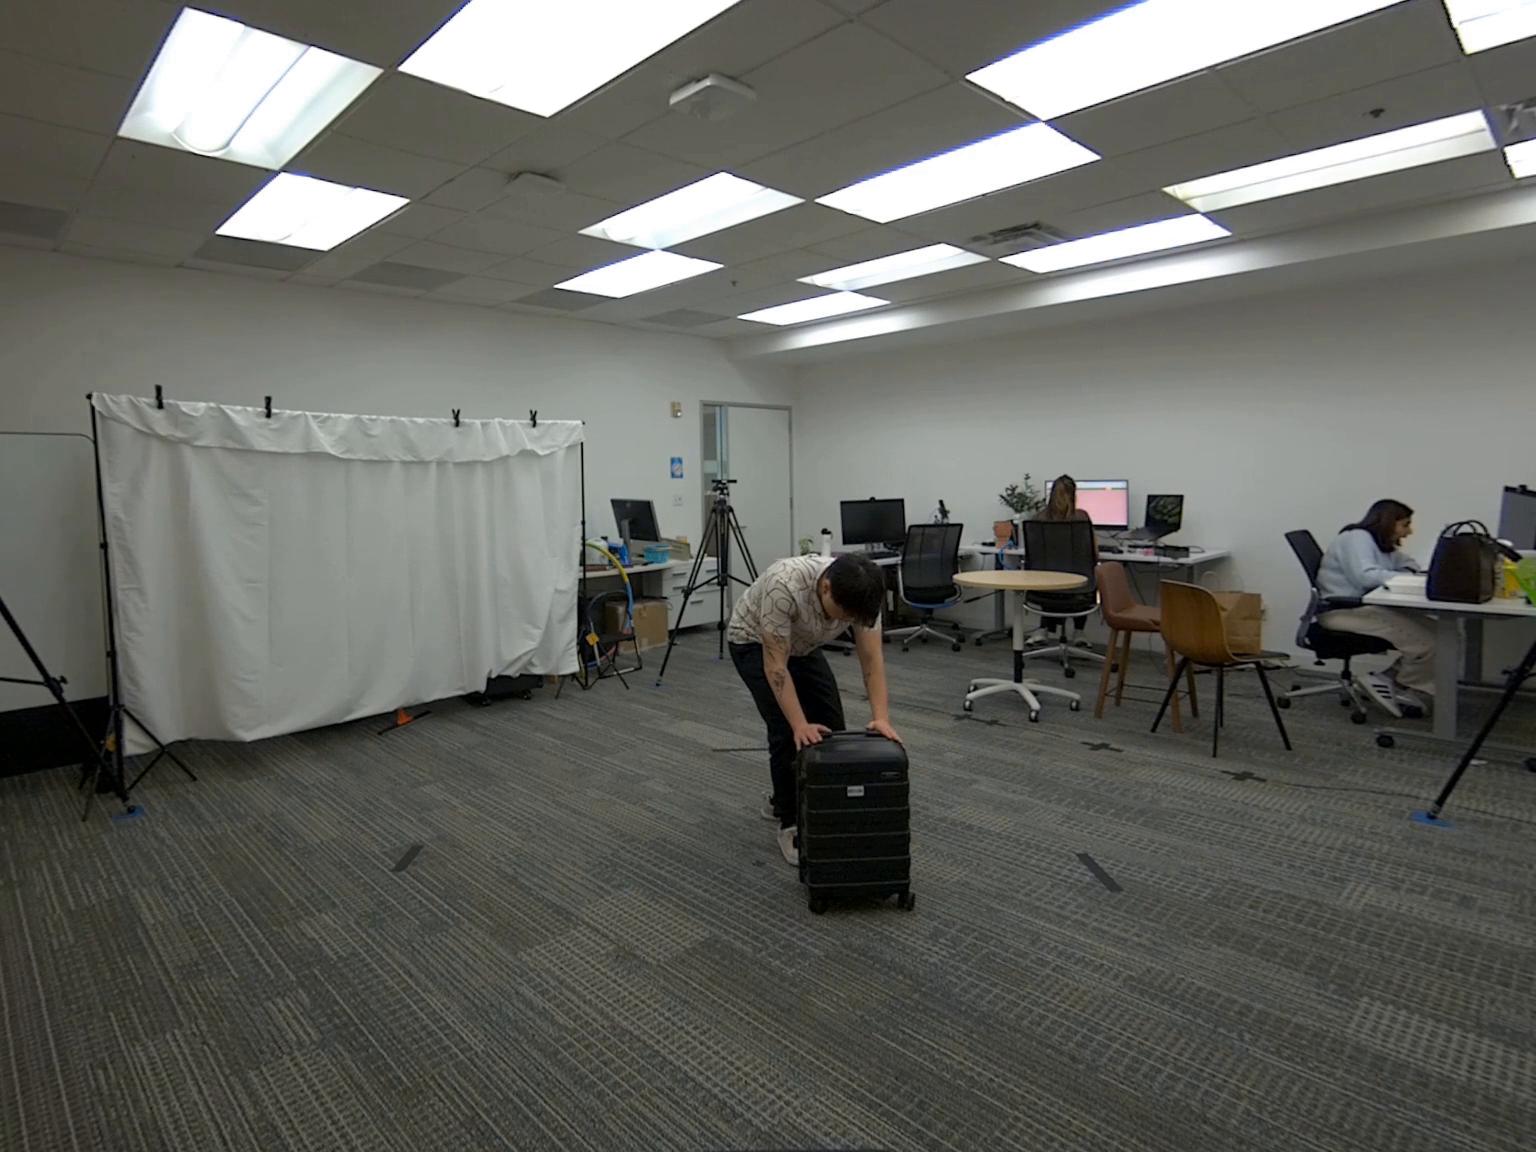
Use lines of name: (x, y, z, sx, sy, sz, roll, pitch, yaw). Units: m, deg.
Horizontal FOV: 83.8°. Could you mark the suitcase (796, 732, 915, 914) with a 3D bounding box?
suitcase: (0.286, 0.802, 2.835, 0.374, 0.546, 0.250, -2, 6, -4)
